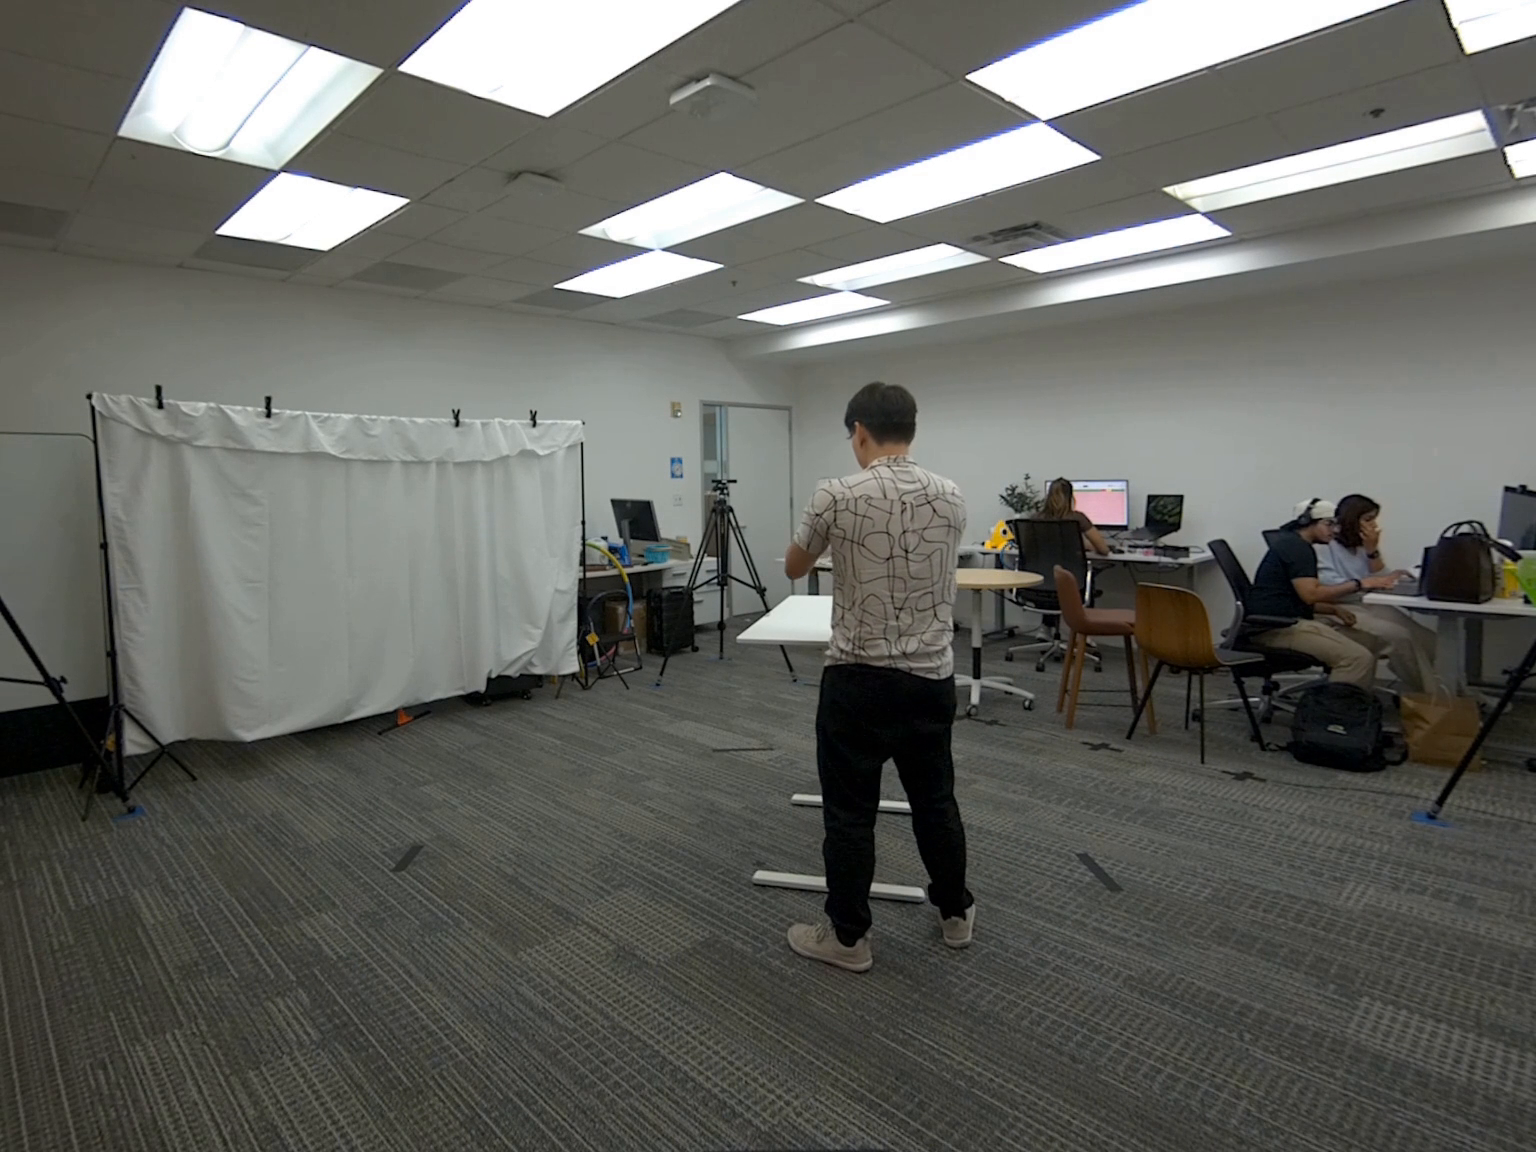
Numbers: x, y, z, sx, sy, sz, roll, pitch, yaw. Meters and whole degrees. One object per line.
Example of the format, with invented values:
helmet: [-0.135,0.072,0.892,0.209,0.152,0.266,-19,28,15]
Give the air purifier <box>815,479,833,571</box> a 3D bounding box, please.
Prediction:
air purifier: [0.250,-0.175,2.841,0.172,0.268,0.169,3,-12,6]
